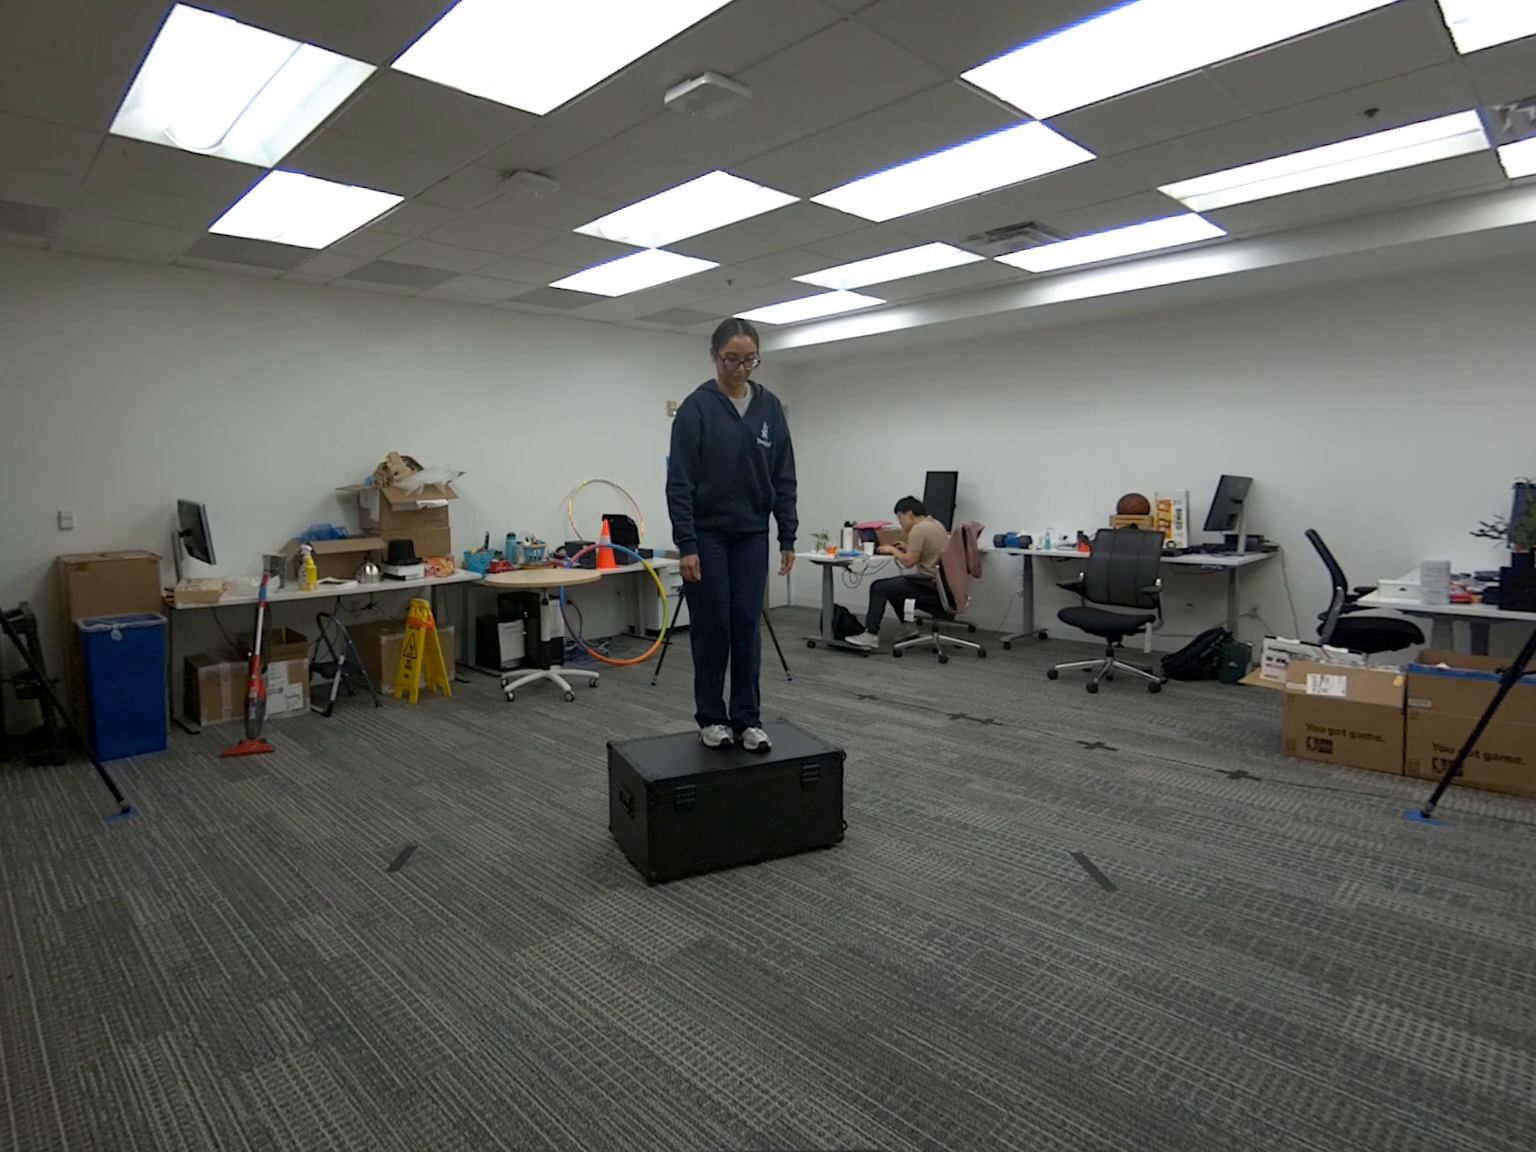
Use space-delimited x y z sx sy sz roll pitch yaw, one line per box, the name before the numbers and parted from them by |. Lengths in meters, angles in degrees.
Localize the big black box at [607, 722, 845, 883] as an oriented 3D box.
big black box | -0.144 0.843 3.304 0.843 0.519 0.407 -4 6 -27
